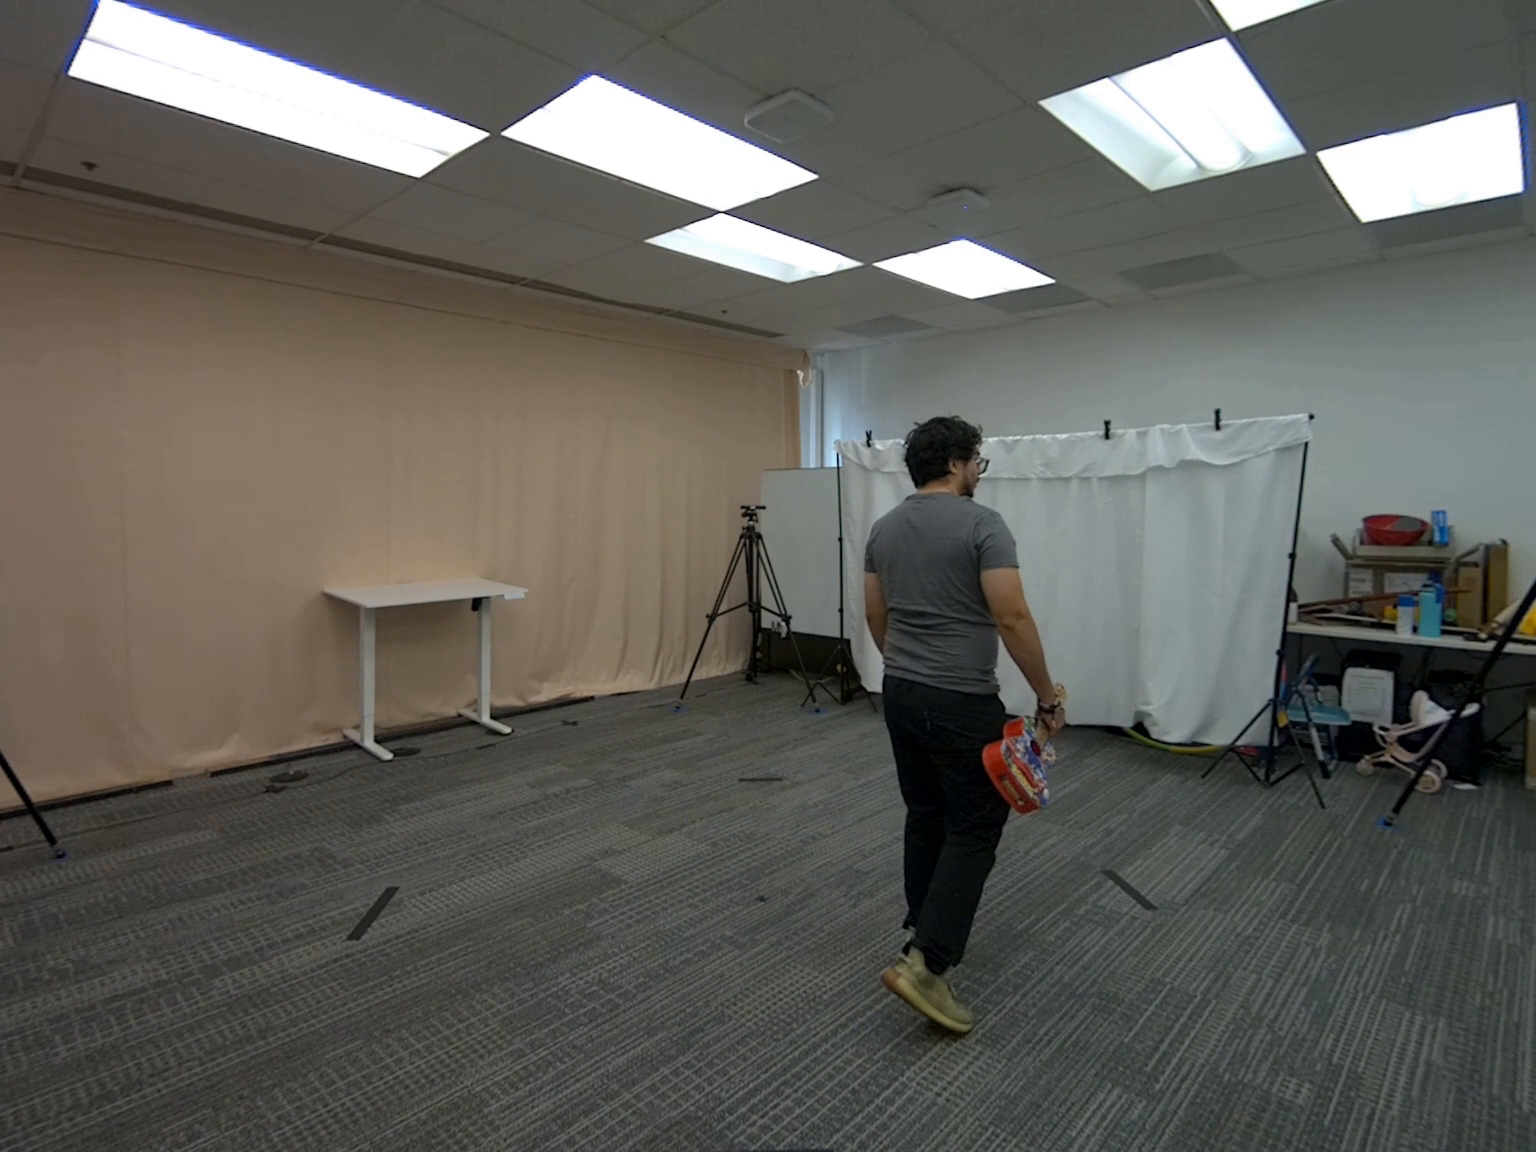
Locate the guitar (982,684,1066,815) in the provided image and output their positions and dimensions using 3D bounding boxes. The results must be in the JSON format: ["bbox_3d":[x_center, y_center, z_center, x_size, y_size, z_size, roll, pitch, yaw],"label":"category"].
[{"bbox_3d":[0.749,0.474,2.305,0.486,0.195,0.072,-23,-10,-48],"label":"guitar"}]
